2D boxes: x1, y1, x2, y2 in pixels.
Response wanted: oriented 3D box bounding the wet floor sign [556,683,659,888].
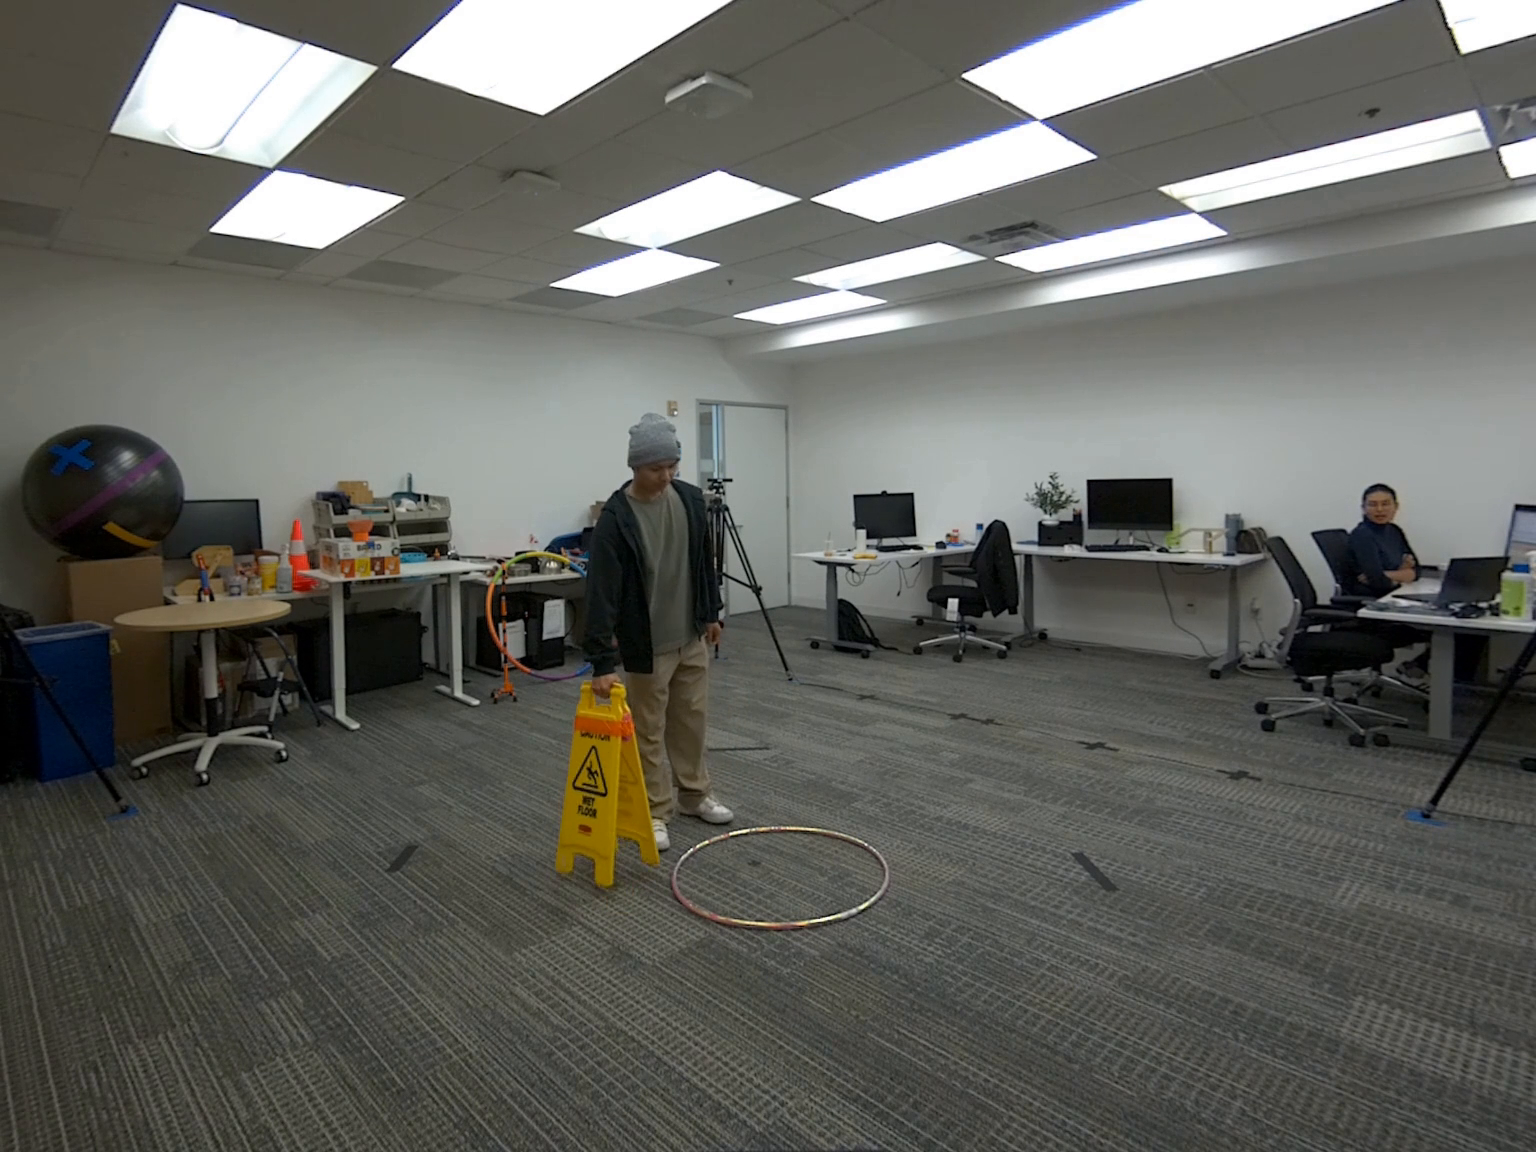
[{"bbox_3d":[-0.571,0.700,3.016,0.290,0.646,0.282,0,1,36],"label":"wet floor sign"}]
